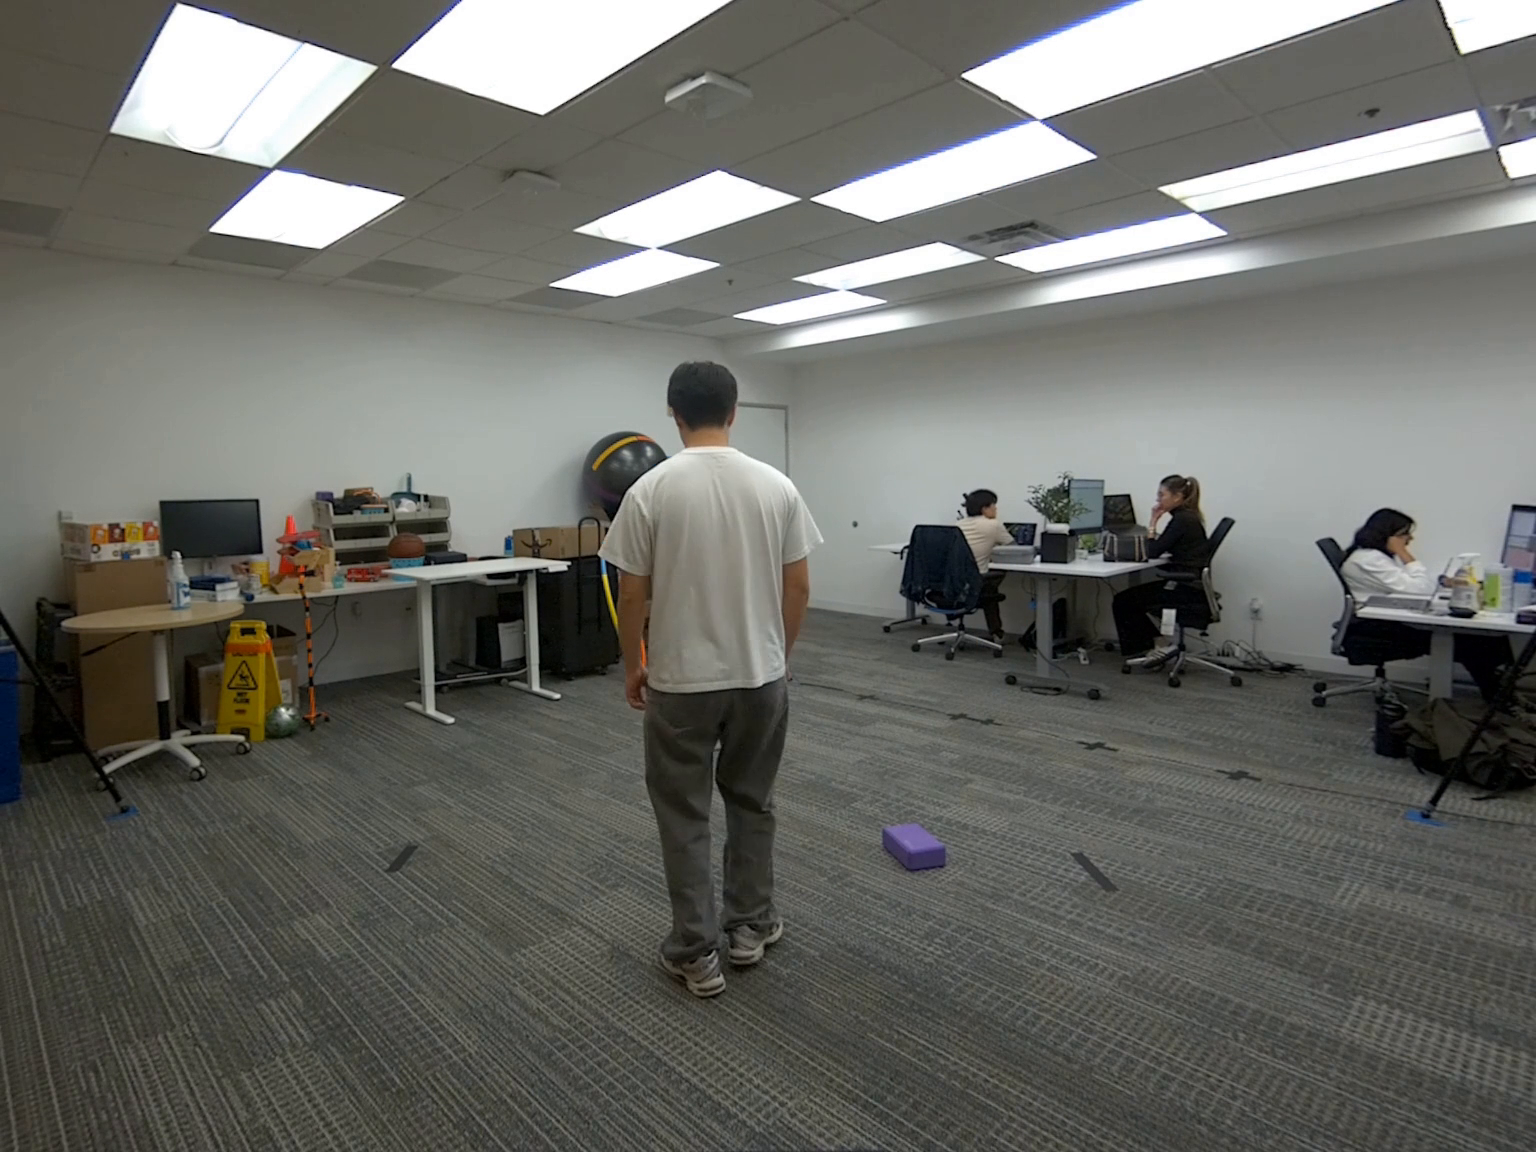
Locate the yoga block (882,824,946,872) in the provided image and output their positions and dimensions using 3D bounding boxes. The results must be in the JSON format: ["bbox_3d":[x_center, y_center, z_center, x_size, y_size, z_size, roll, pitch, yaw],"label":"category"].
[{"bbox_3d":[0.538,0.992,3.144,0.147,0.076,0.233,-3,6,-16],"label":"yoga block"}]
